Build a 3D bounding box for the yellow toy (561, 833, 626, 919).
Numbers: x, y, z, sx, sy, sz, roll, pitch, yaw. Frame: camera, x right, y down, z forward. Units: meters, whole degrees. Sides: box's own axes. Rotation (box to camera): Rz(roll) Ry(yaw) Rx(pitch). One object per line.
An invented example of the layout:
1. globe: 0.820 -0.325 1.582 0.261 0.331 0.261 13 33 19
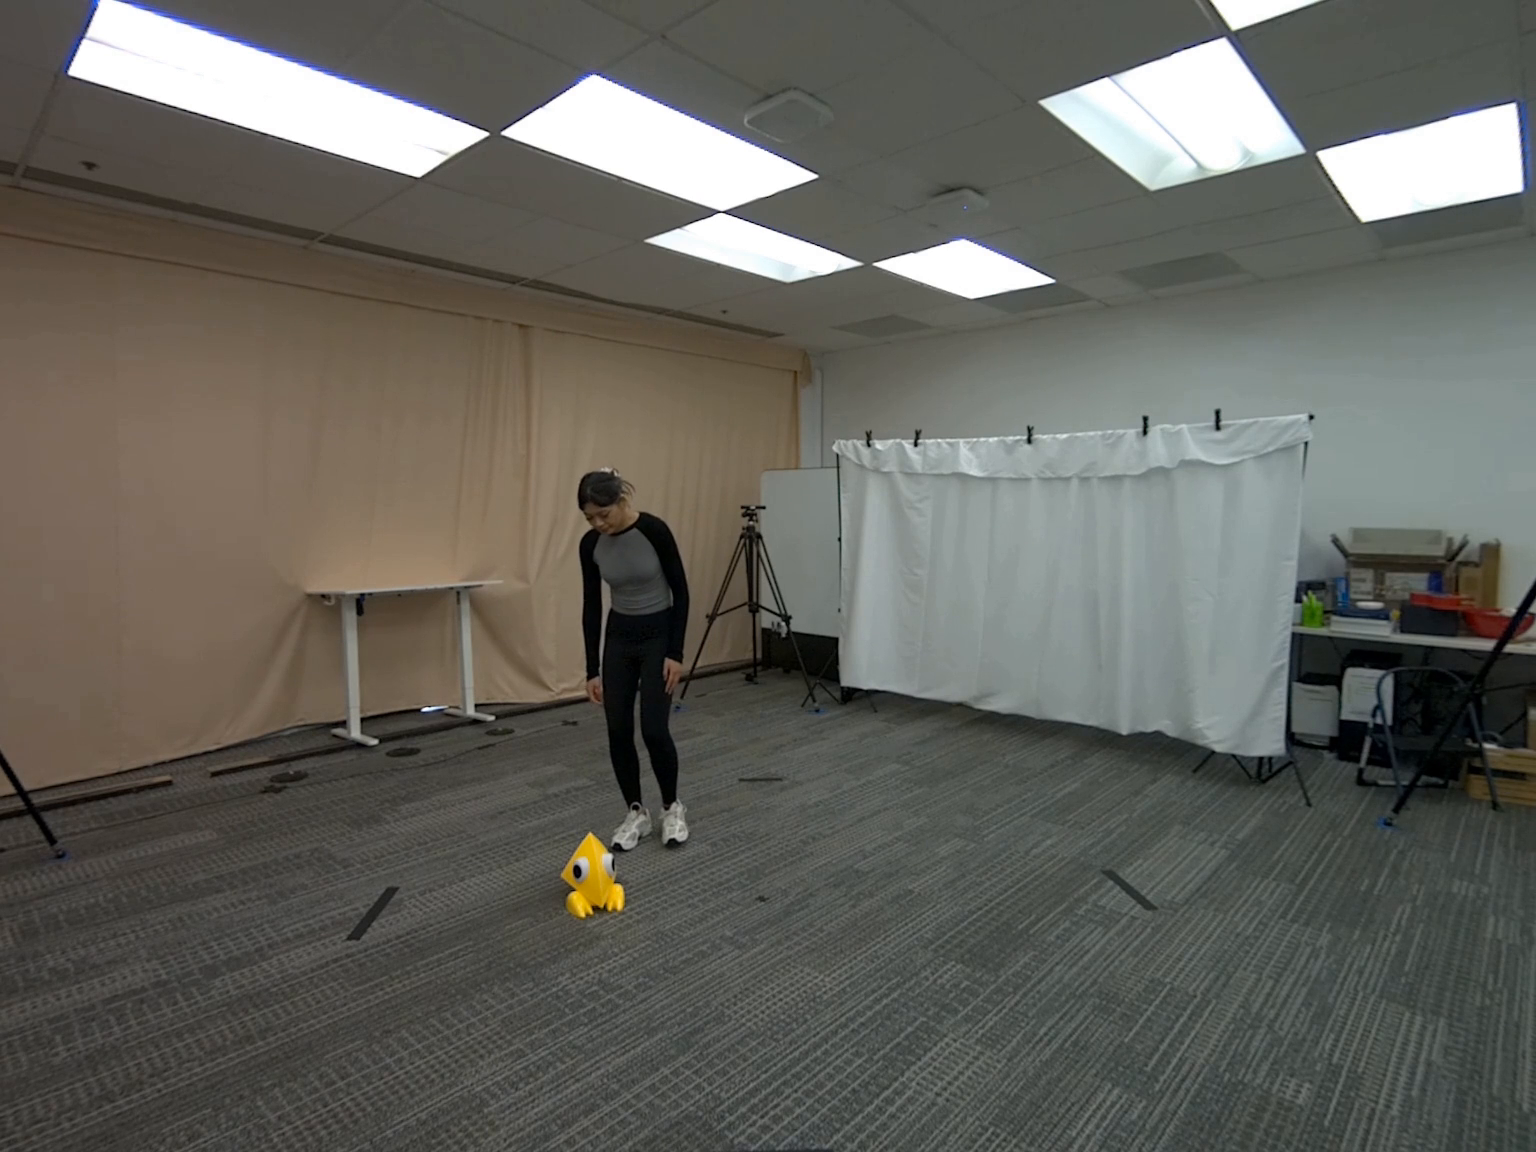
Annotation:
1. yellow toy: -0.615 1.031 2.959 0.201 0.230 0.197 0 3 -19
